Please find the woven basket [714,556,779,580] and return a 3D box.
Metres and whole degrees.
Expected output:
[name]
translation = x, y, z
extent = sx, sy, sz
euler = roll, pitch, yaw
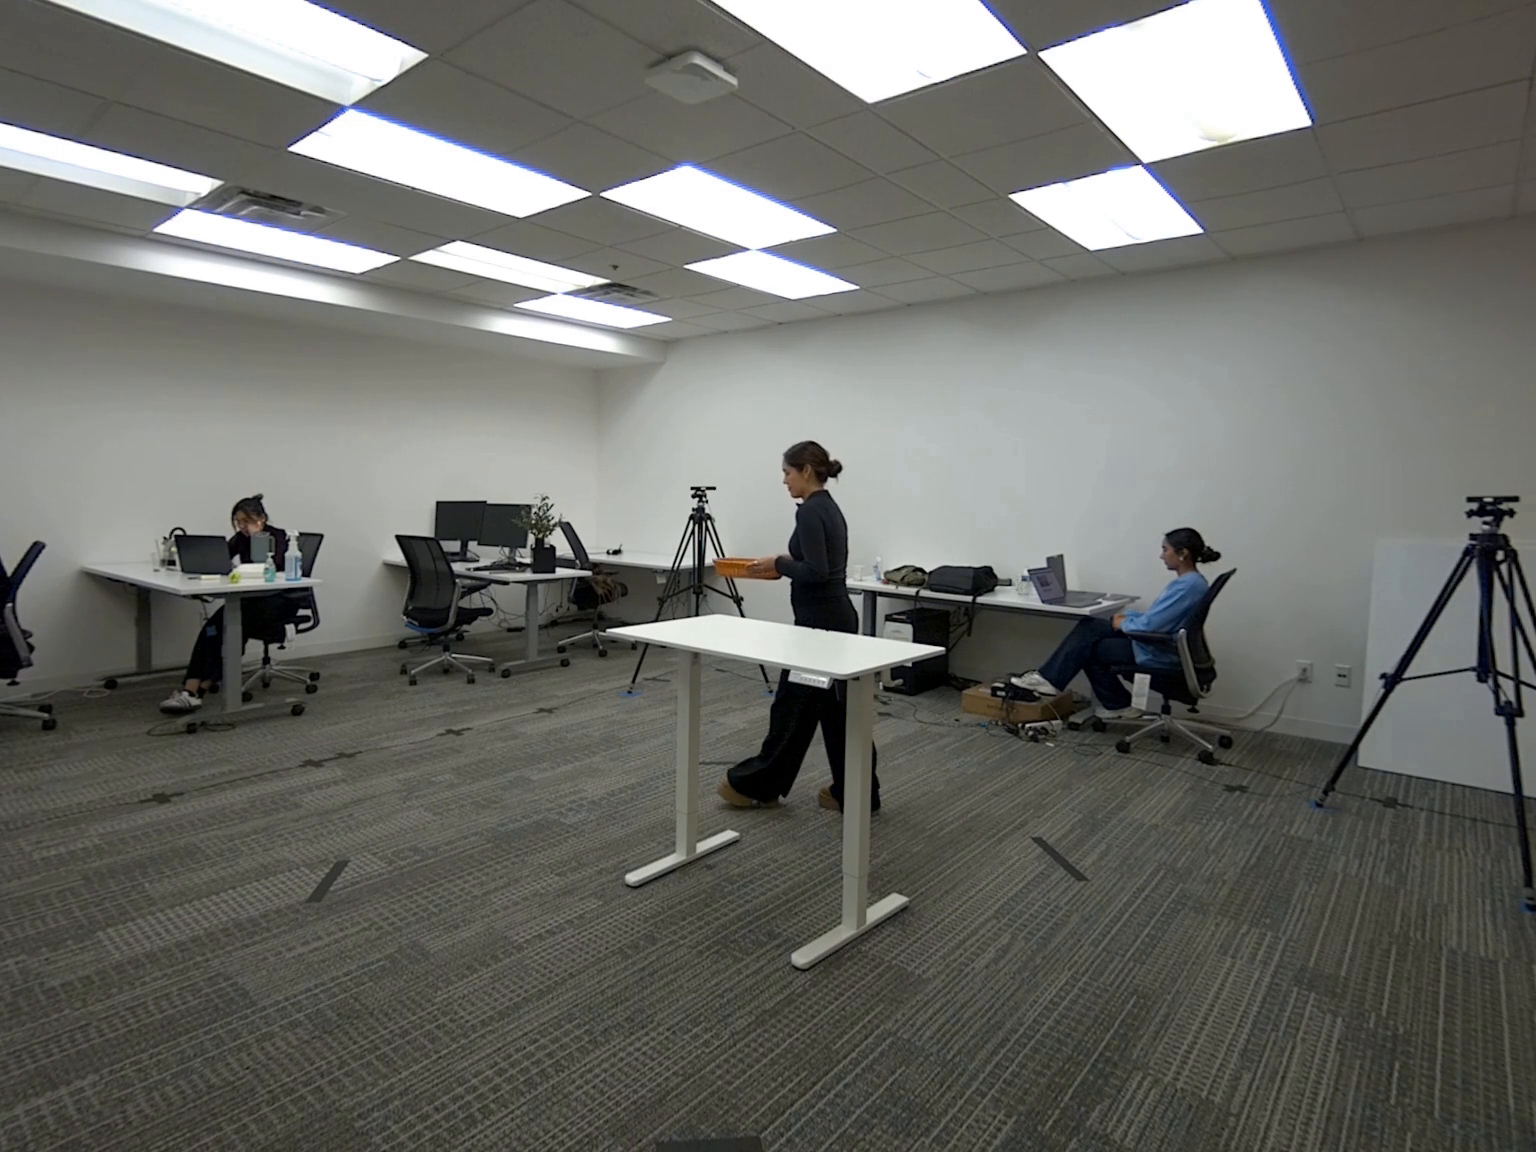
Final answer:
[woven basket]
translation = -0.038, -0.041, 3.806
extent = 0.349, 0.073, 0.255
euler = -2, 5, -5
